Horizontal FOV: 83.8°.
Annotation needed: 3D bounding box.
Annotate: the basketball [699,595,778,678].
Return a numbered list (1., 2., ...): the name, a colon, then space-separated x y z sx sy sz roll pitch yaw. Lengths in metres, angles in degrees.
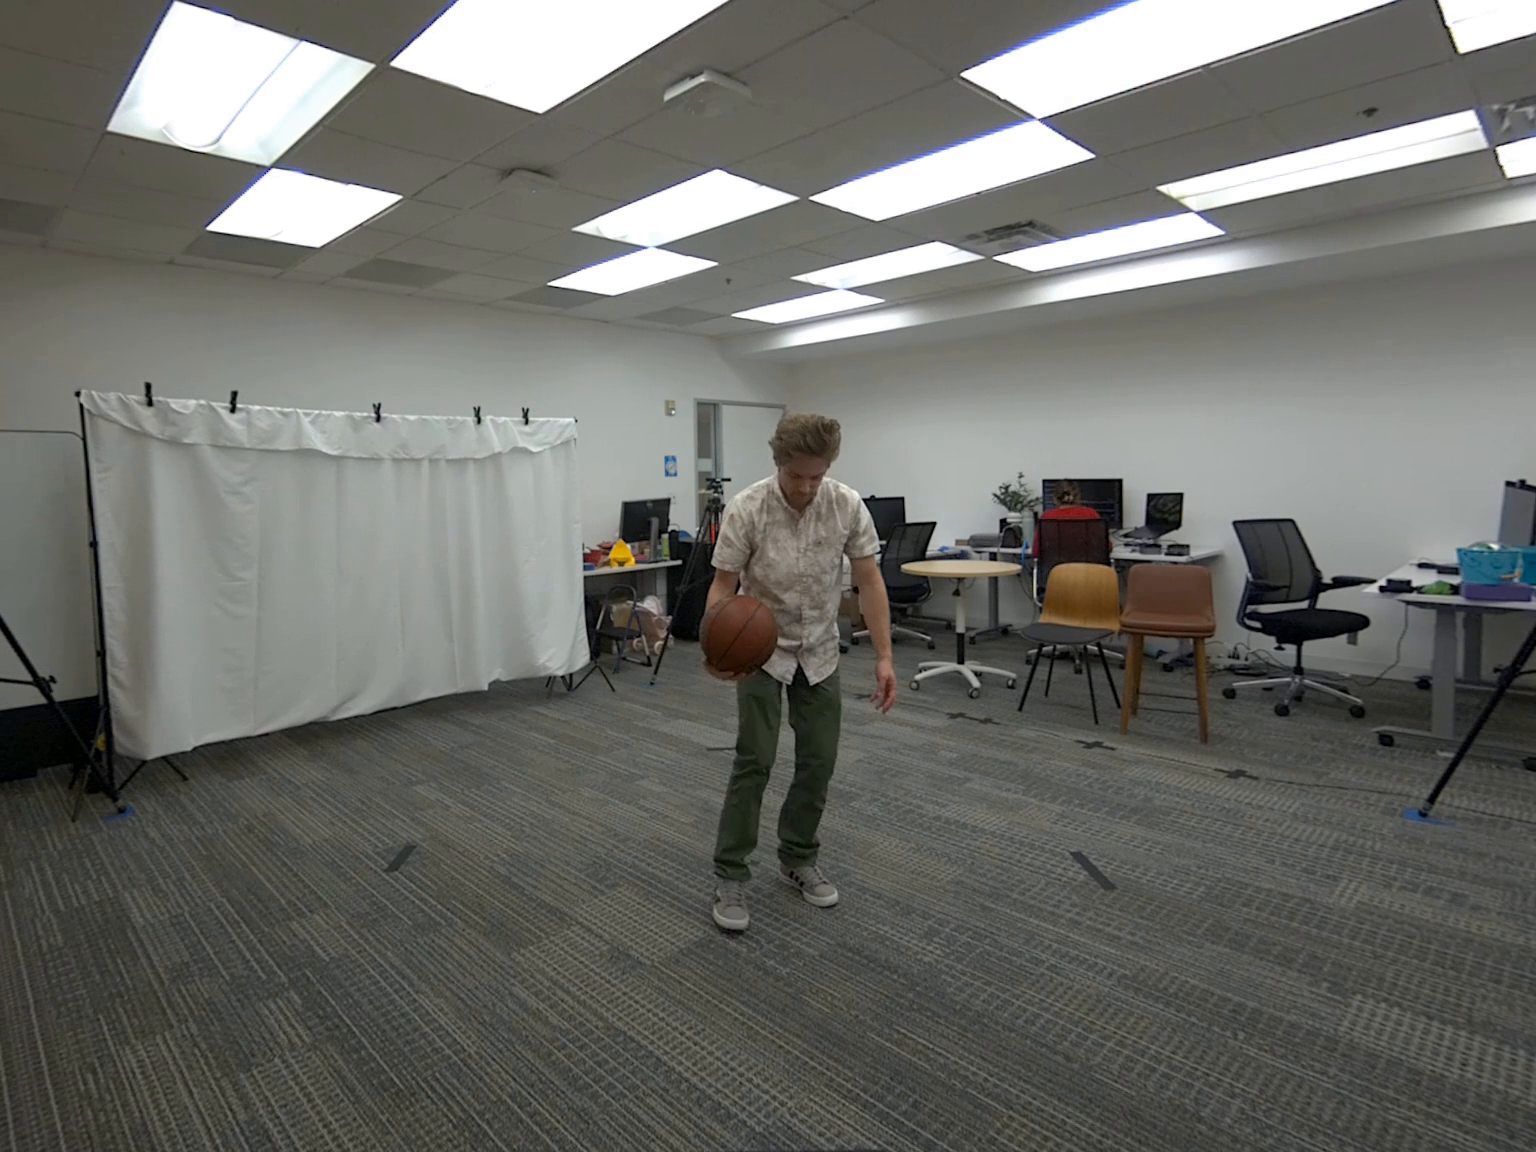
1. basketball: -0.095 0.178 2.584 0.236 0.235 0.237 -1 5 -2
